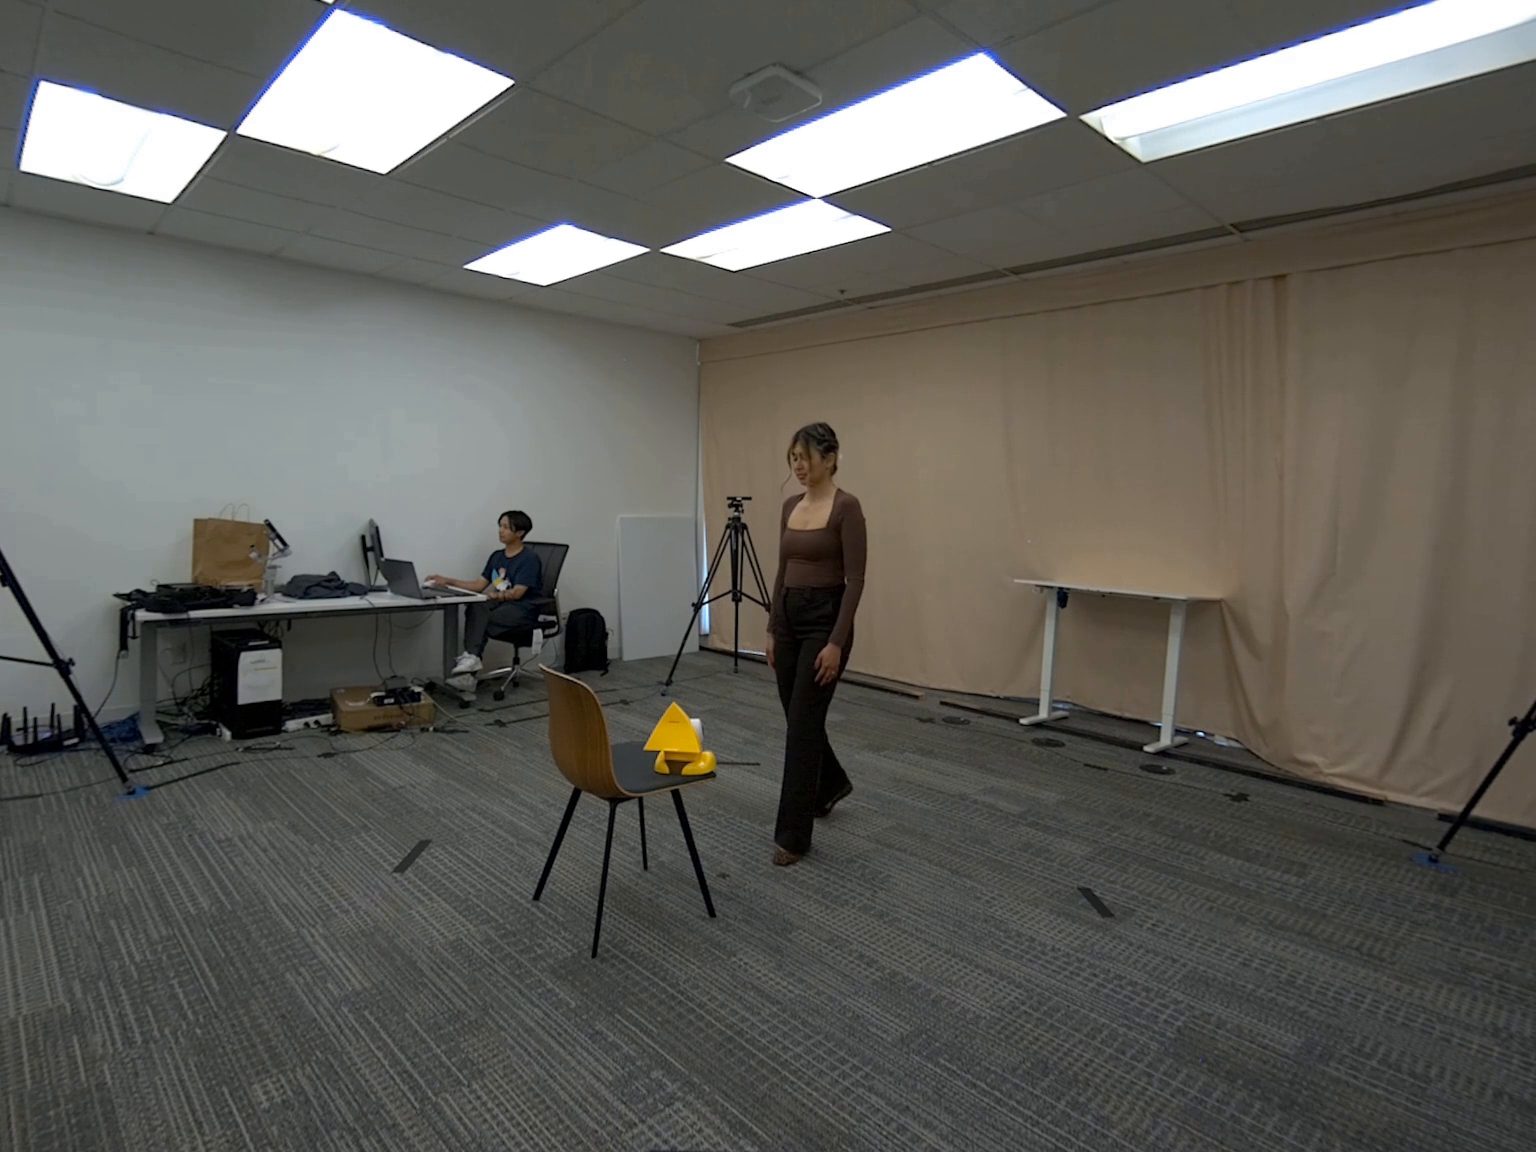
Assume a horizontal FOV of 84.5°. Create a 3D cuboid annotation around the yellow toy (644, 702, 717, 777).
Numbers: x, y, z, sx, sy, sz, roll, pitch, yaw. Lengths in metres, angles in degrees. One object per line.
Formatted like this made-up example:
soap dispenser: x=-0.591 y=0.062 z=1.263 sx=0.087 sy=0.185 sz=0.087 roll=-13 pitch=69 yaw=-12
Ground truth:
yellow toy: x=-0.285 y=0.532 z=2.795 sx=0.208 sy=0.231 sz=0.190 roll=-2 pitch=1 yaw=22
